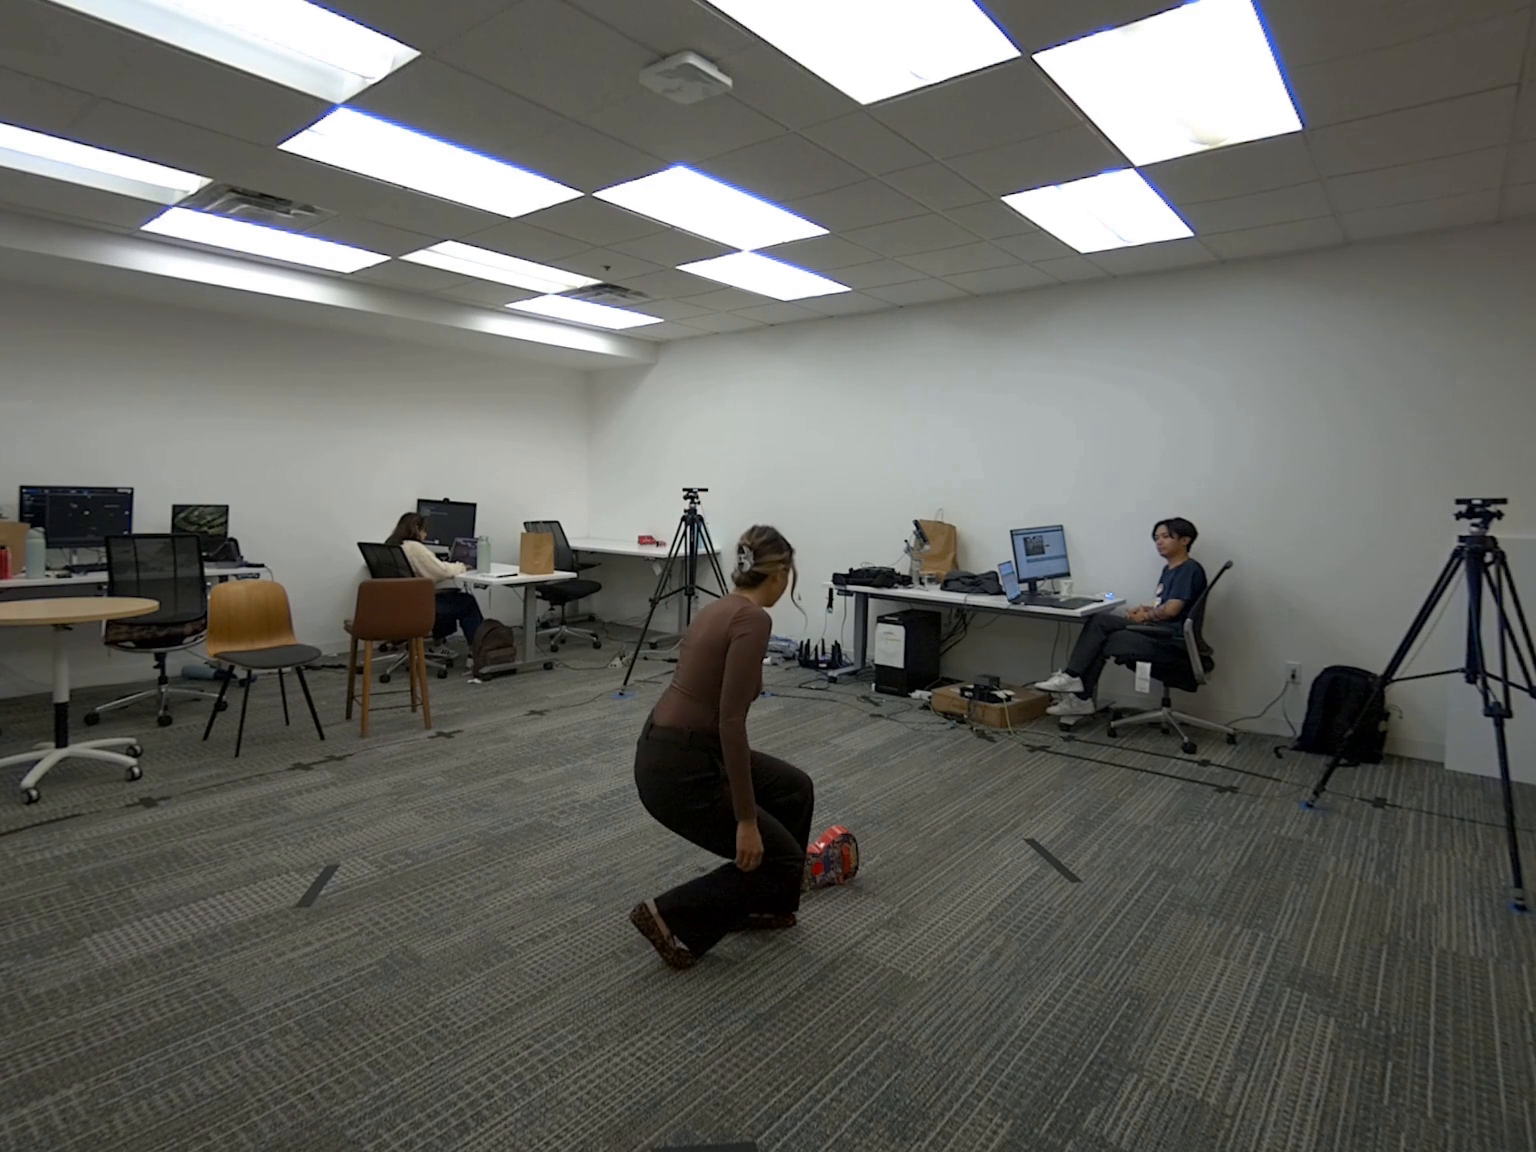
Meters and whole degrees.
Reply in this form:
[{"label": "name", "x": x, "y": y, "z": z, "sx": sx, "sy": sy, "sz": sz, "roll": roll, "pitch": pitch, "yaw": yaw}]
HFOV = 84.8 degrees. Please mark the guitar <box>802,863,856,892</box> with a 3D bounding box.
[{"label": "guitar", "x": 0.094, "y": 0.991, "z": 2.944, "sx": 0.486, "sy": 0.191, "sz": 0.073, "roll": -2, "pitch": 9, "yaw": -25}]
